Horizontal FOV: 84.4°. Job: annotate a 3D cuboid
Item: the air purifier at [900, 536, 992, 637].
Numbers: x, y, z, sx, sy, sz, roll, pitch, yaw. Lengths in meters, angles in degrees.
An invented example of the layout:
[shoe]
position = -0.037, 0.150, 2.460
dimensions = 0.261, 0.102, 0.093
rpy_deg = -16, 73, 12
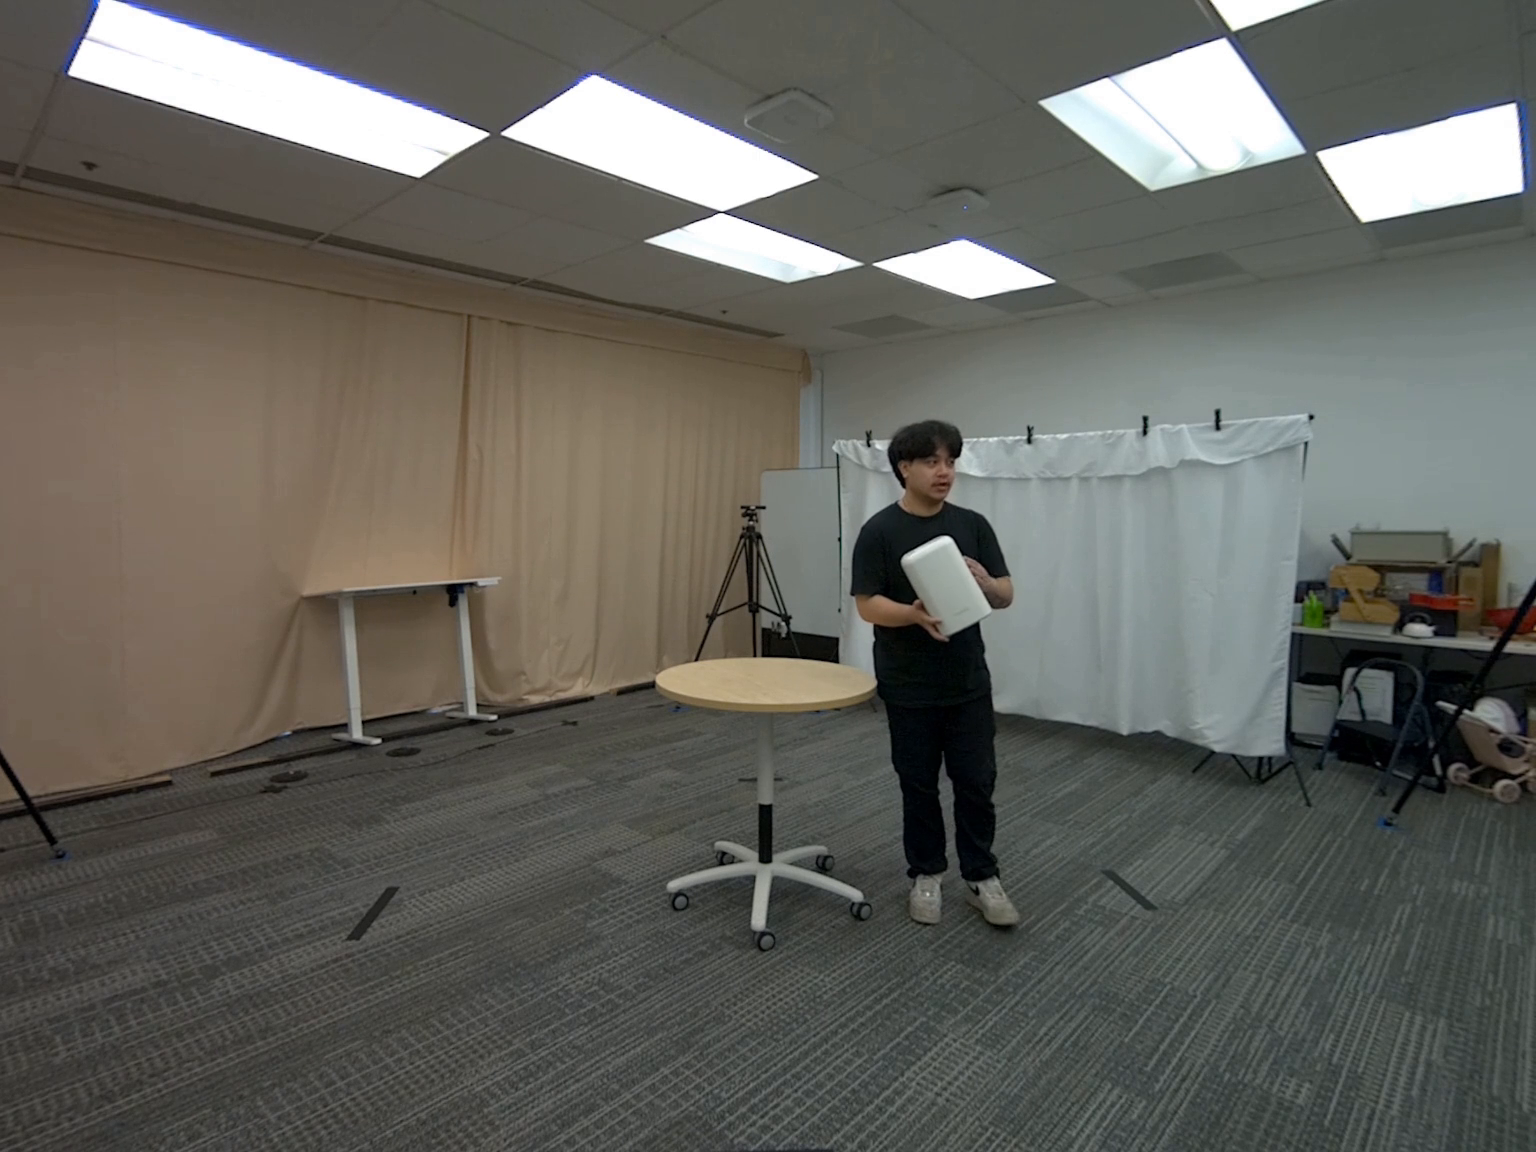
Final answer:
[air purifier]
position = 0.536, 0.029, 2.556
dimensions = 0.172, 0.266, 0.170
rpy_deg = -28, -3, 8
